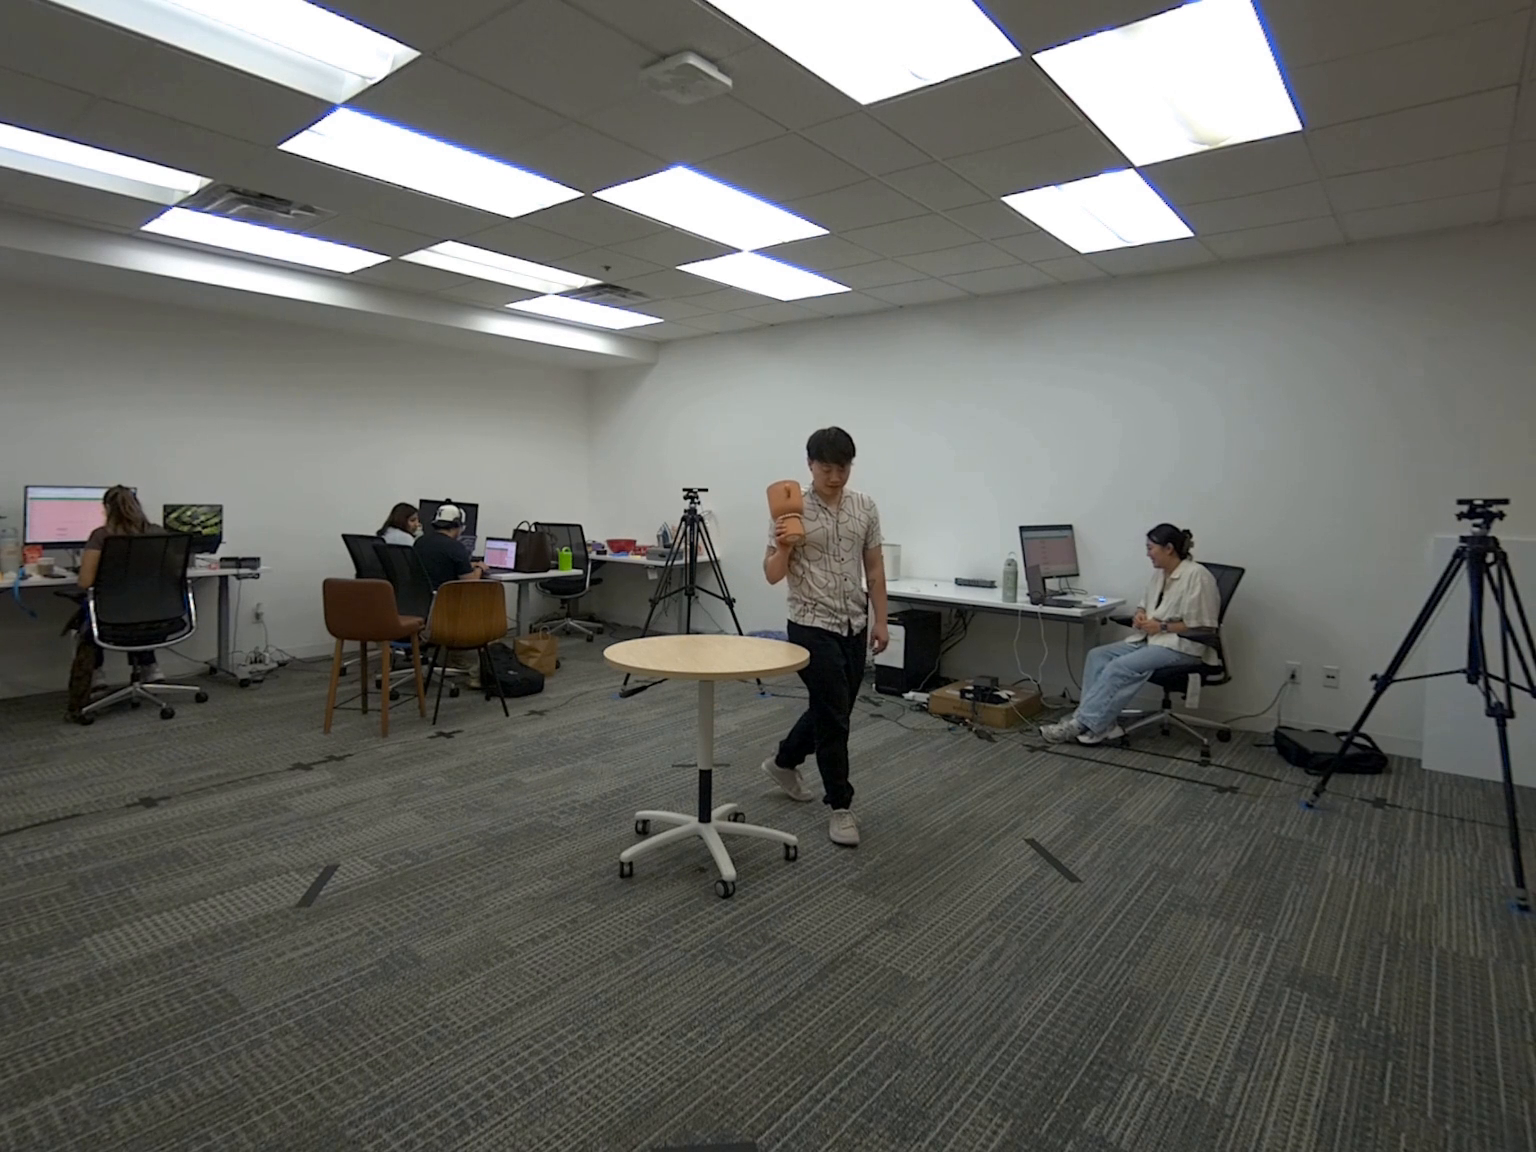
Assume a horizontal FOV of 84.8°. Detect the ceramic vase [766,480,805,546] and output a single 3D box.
[{"bbox_3d":[0.067,-0.245,3.278,0.137,0.225,0.153,-22,-24,28],"label":"ceramic vase"}]
